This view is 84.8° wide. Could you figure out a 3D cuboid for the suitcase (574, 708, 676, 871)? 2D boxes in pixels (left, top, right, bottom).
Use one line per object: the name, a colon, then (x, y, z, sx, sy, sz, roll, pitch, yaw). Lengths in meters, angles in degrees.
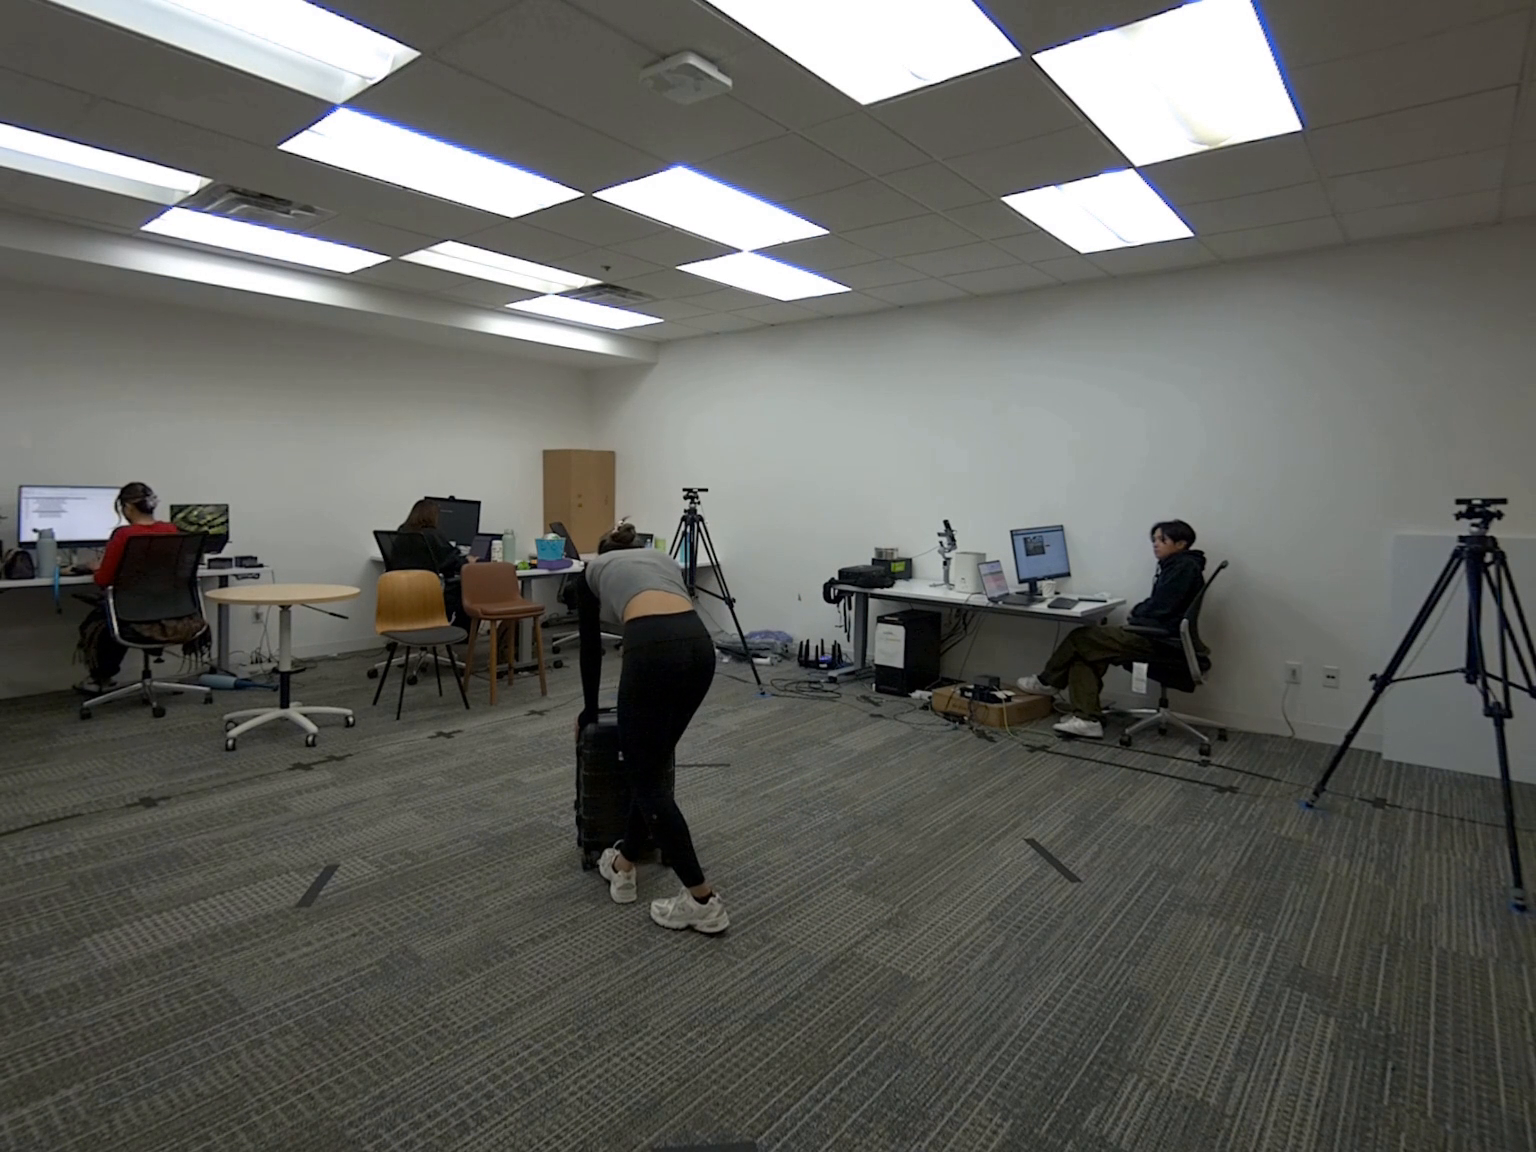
suitcase: (-0.552, 0.777, 3.235, 0.370, 0.549, 0.252, 1, 2, -15)
